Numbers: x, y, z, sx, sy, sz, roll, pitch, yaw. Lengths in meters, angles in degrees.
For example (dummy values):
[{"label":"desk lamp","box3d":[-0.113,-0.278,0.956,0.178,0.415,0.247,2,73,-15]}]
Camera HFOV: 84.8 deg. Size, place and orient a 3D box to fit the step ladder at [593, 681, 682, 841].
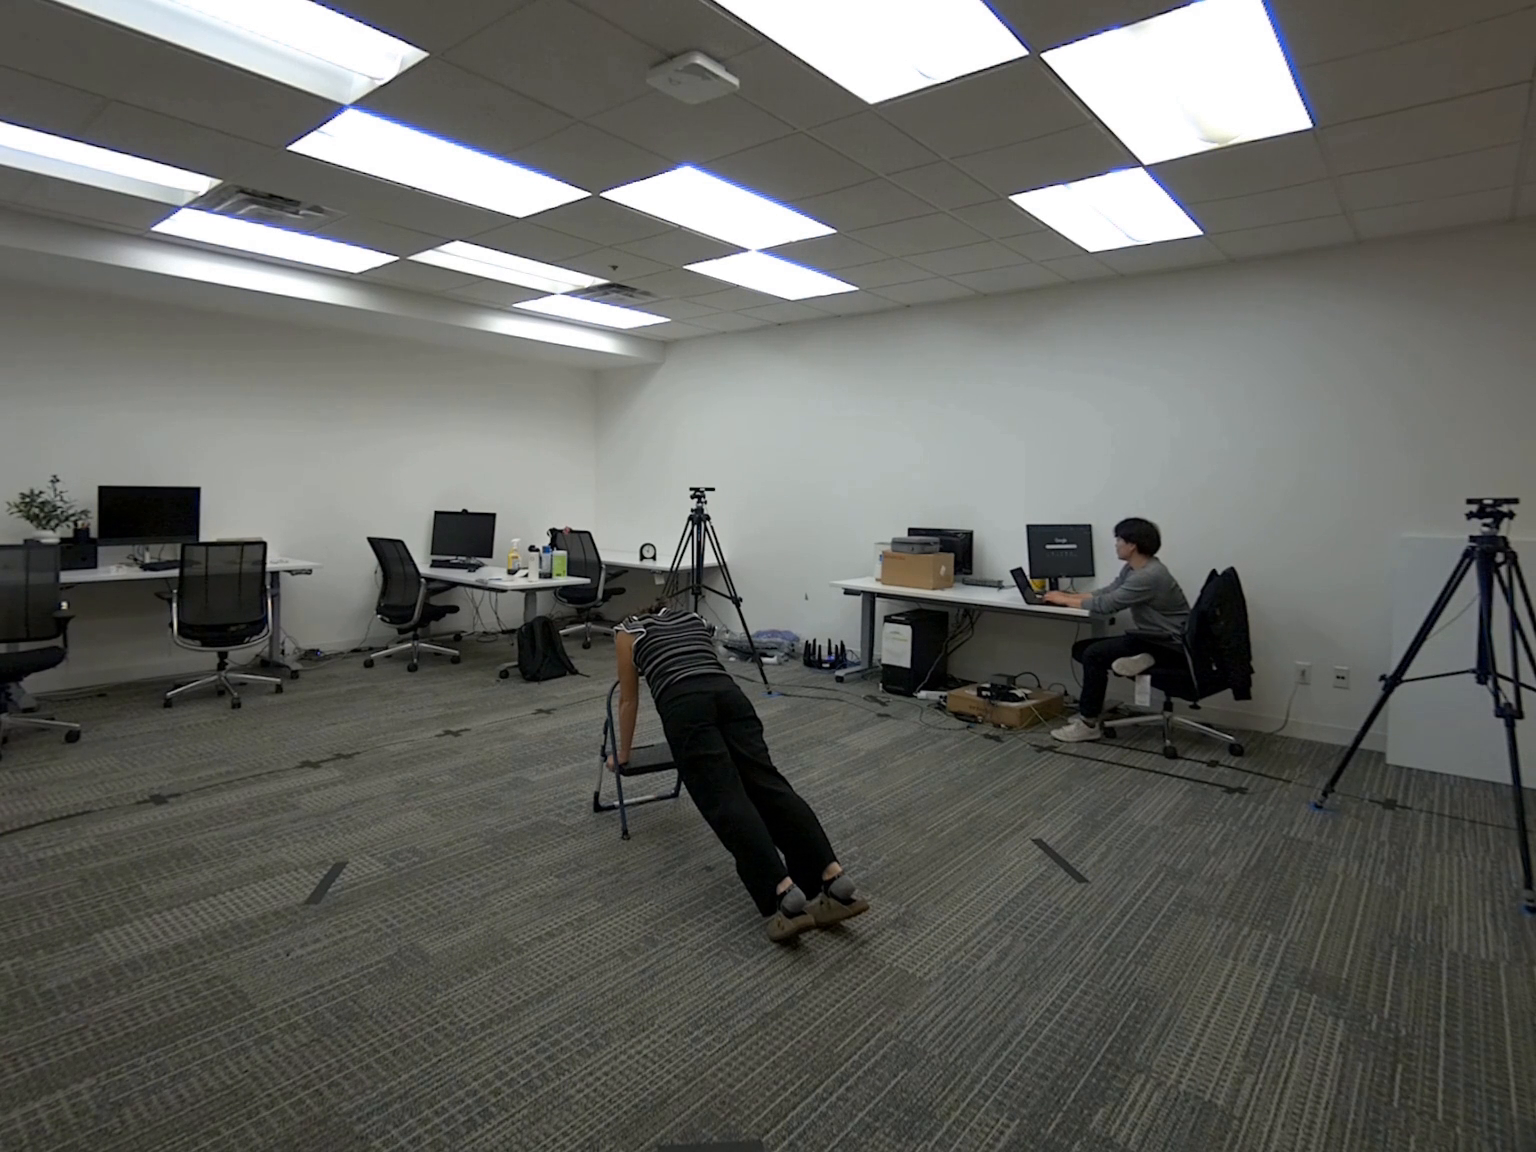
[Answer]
[{"label":"step ladder","box3d":[-0.496,0.714,3.594,0.418,0.605,0.360,-1,3,-33]}]
